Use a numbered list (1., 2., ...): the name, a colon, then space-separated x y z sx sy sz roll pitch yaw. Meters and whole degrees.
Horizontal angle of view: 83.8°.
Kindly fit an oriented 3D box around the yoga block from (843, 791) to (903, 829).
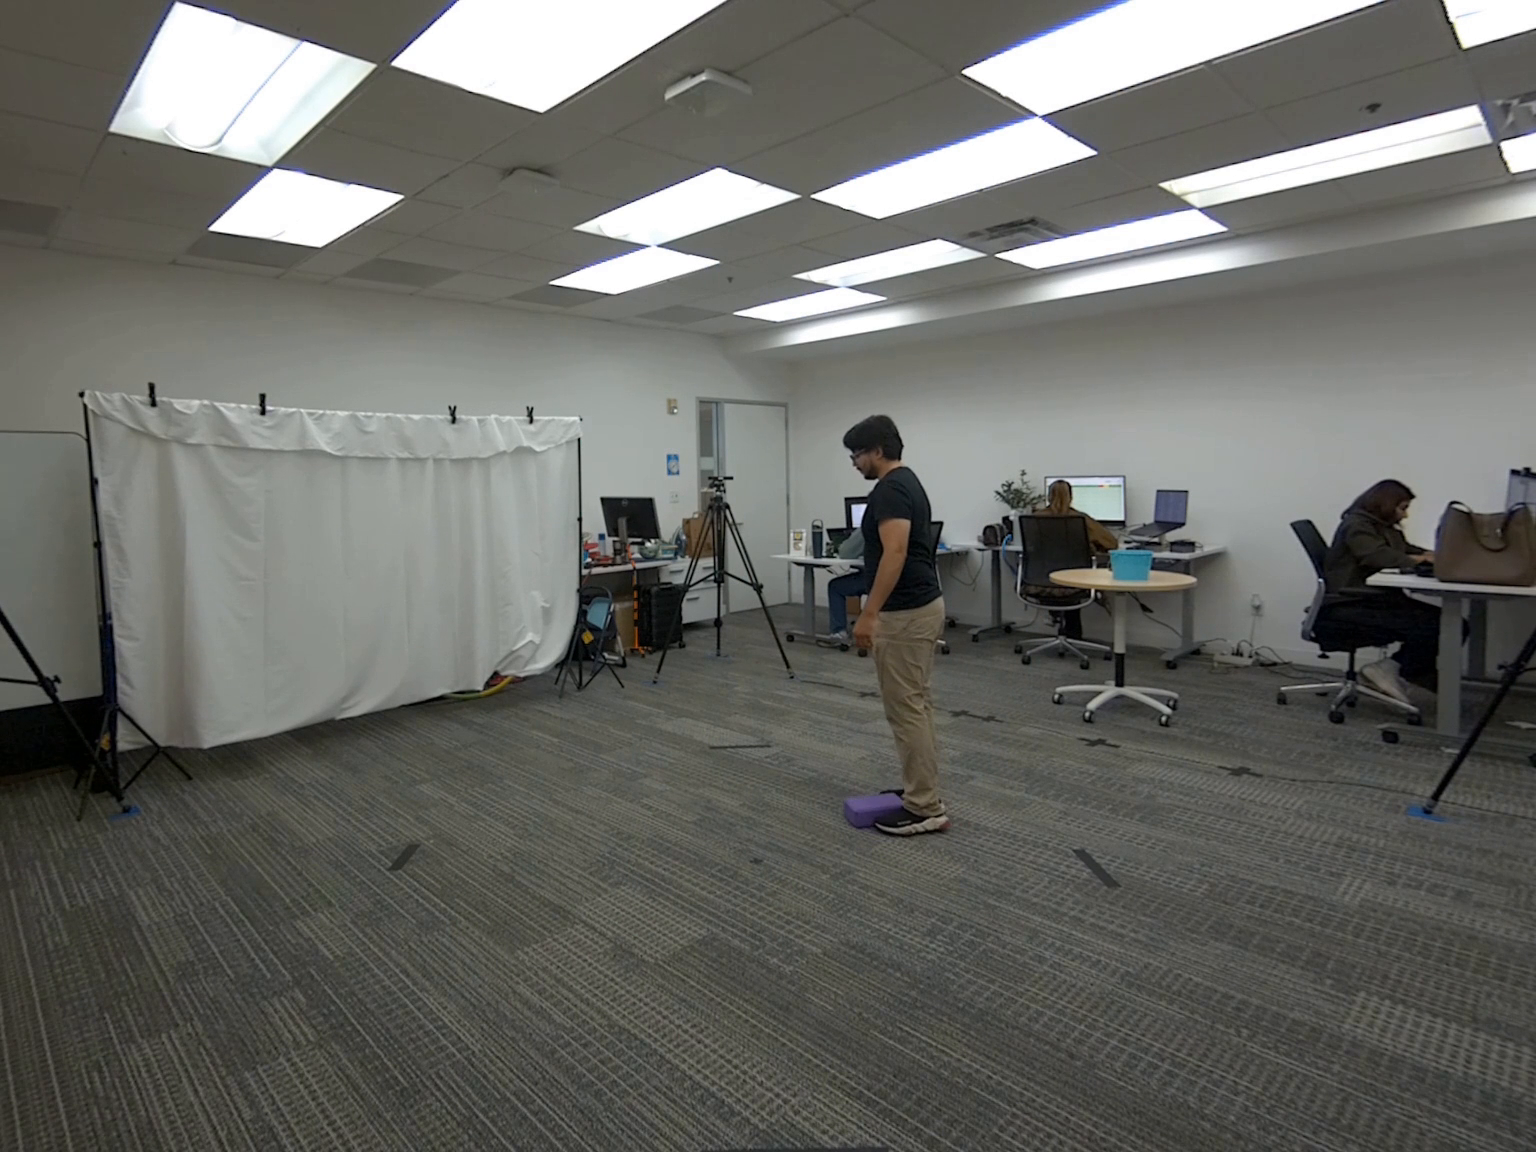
1. yoga block: 0.443 0.948 3.455 0.227 0.076 0.151 -2 6 -13
